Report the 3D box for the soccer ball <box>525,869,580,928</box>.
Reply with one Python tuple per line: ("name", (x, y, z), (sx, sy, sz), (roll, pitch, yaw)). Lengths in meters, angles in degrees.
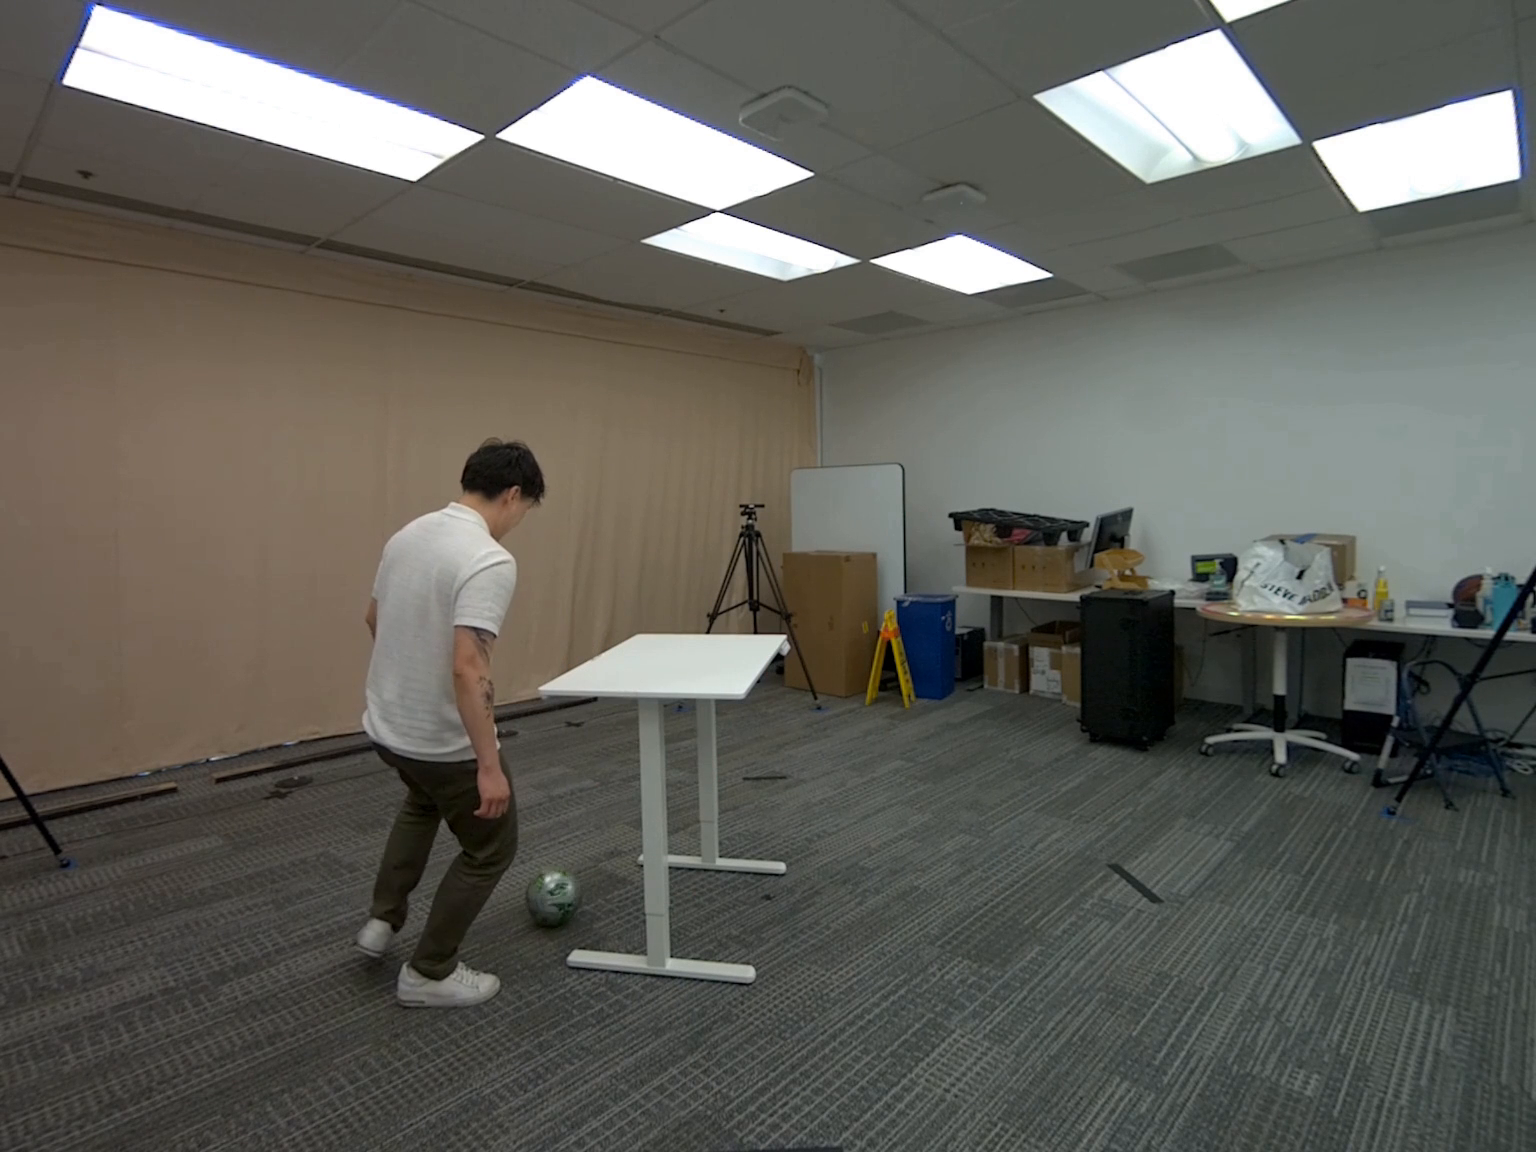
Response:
("soccer ball", (-0.717, 1.075, 2.828), (0.187, 0.187, 0.188), (-1, 4, -2))
